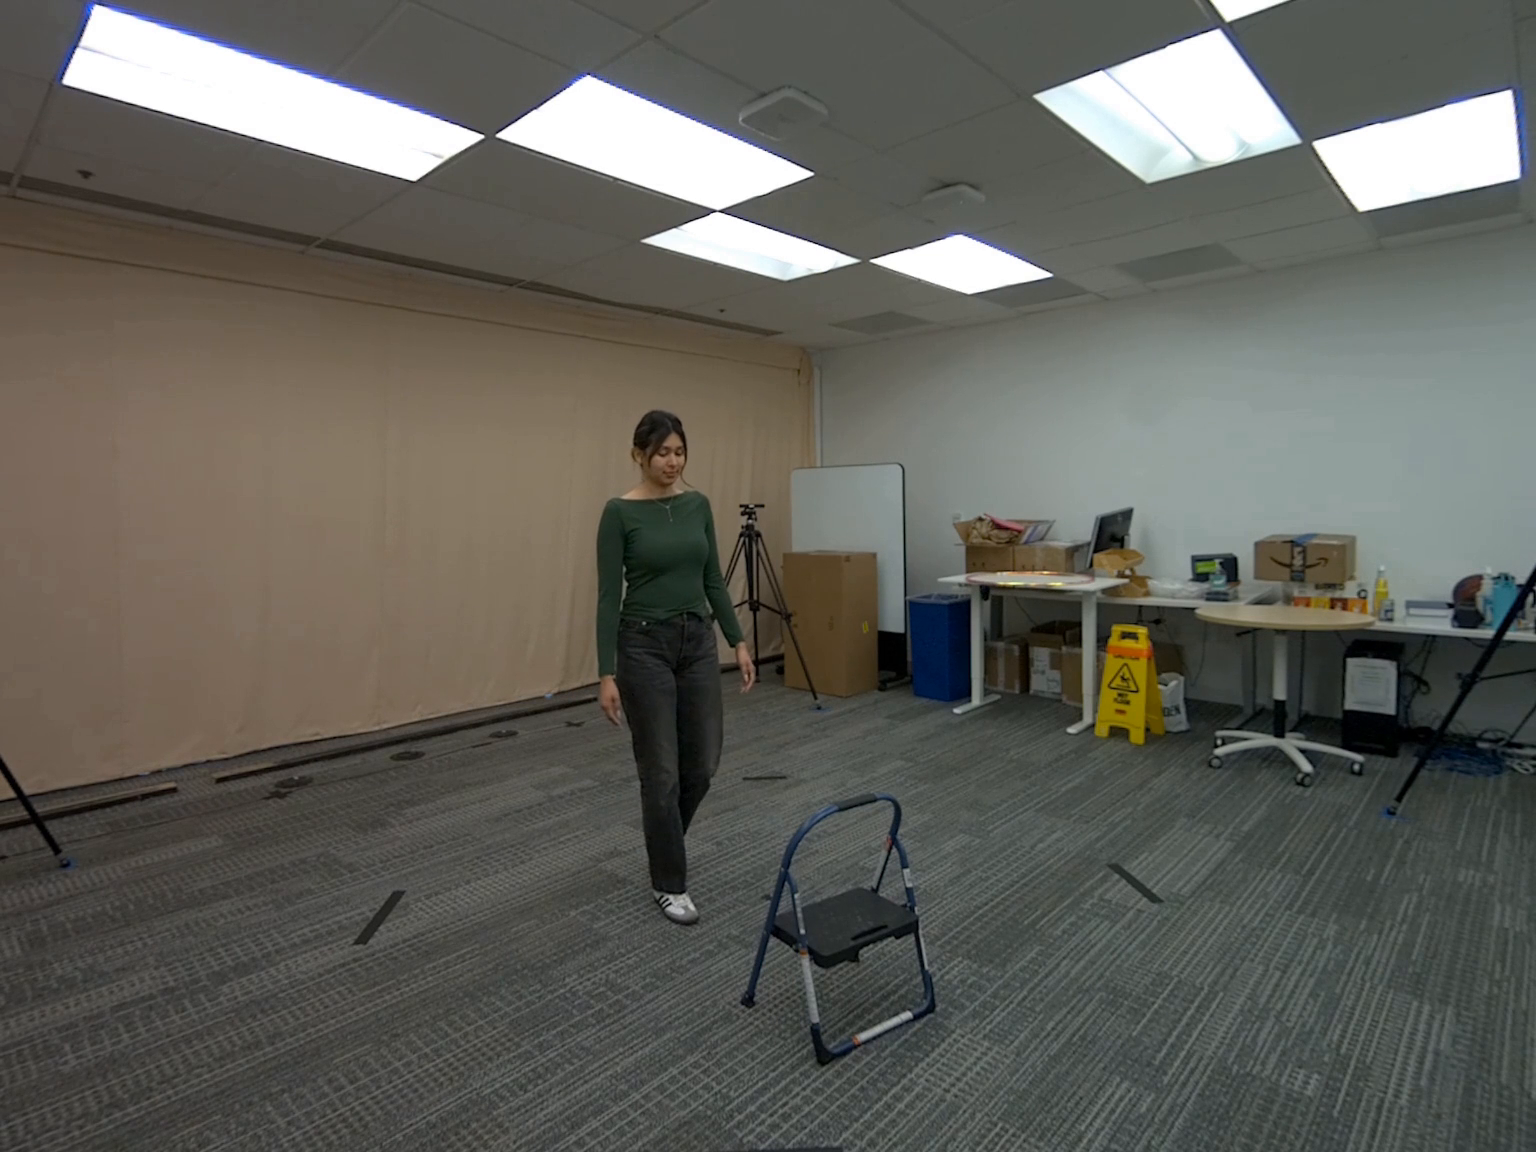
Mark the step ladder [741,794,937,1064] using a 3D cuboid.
[{"bbox_3d":[0.195,0.891,2.317,0.418,0.604,0.360,-4,5,-36],"label":"step ladder"}]
